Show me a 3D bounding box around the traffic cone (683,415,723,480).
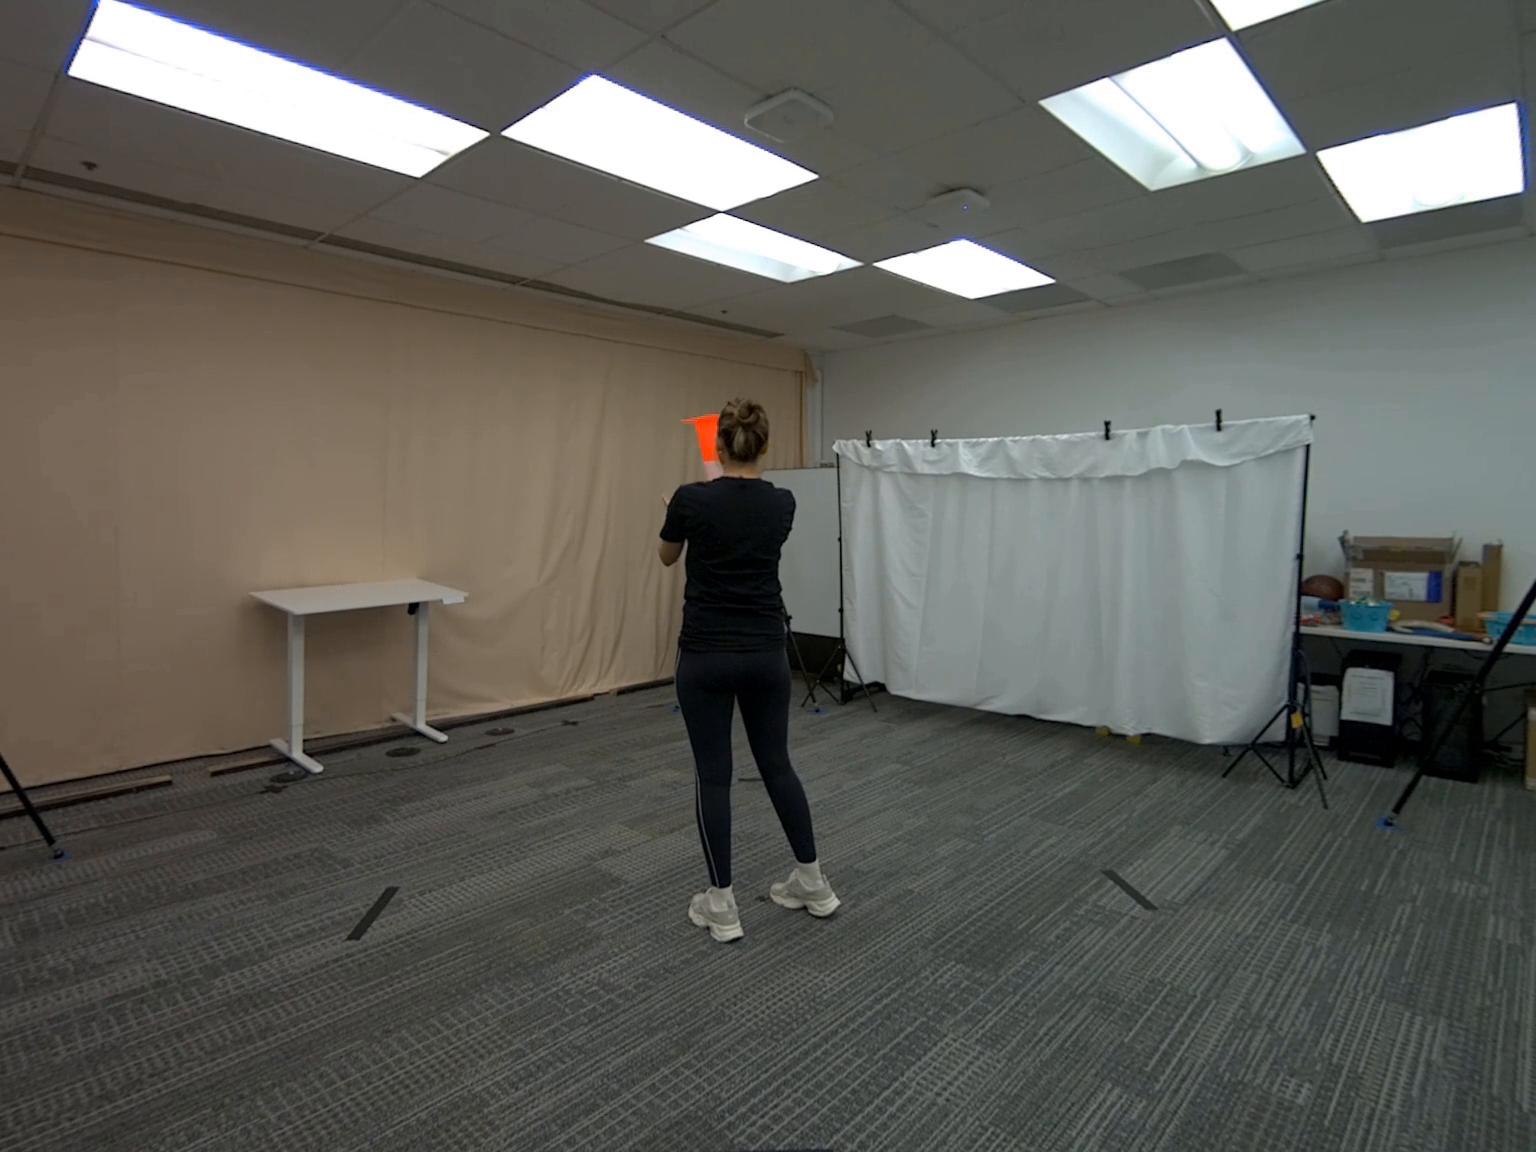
[{"bbox_3d":[-0.205,-0.431,3.321,0.198,0.383,0.211,-4,3,-33],"label":"traffic cone"}]
